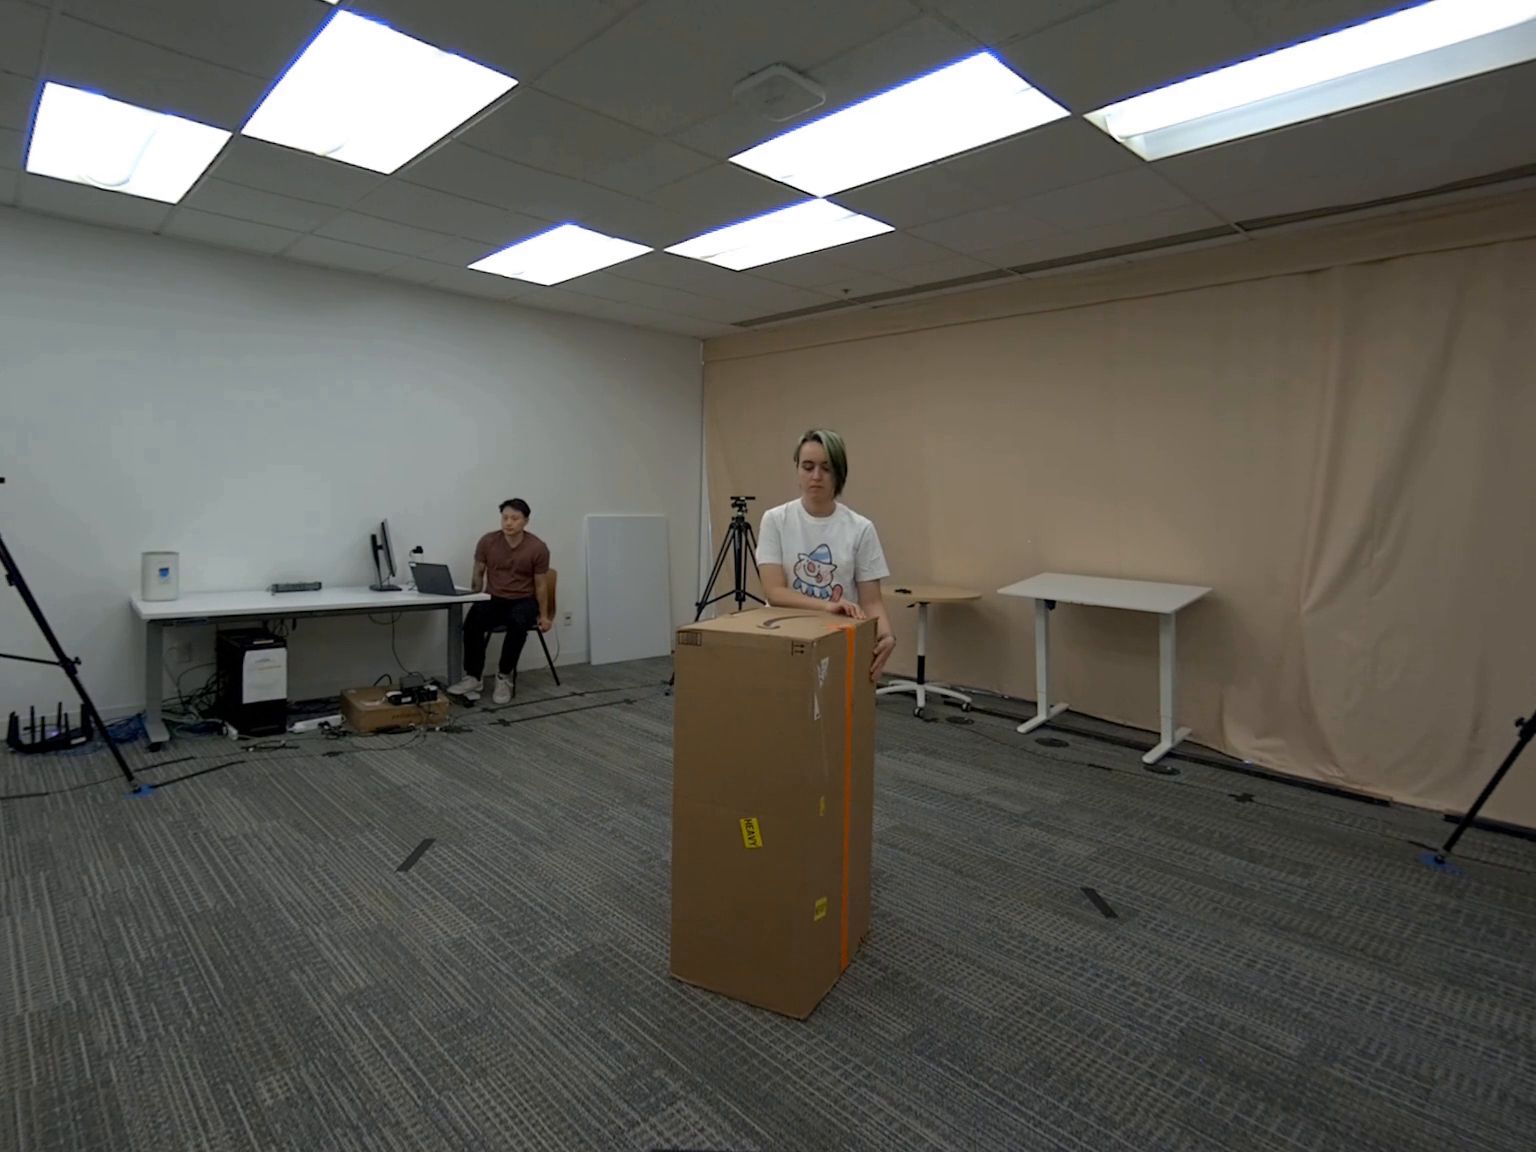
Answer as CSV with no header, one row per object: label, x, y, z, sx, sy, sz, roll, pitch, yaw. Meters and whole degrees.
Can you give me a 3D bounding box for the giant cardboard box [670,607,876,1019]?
giant cardboard box,0.027,0.648,2.566,0.435,1.024,0.567,2,3,27
